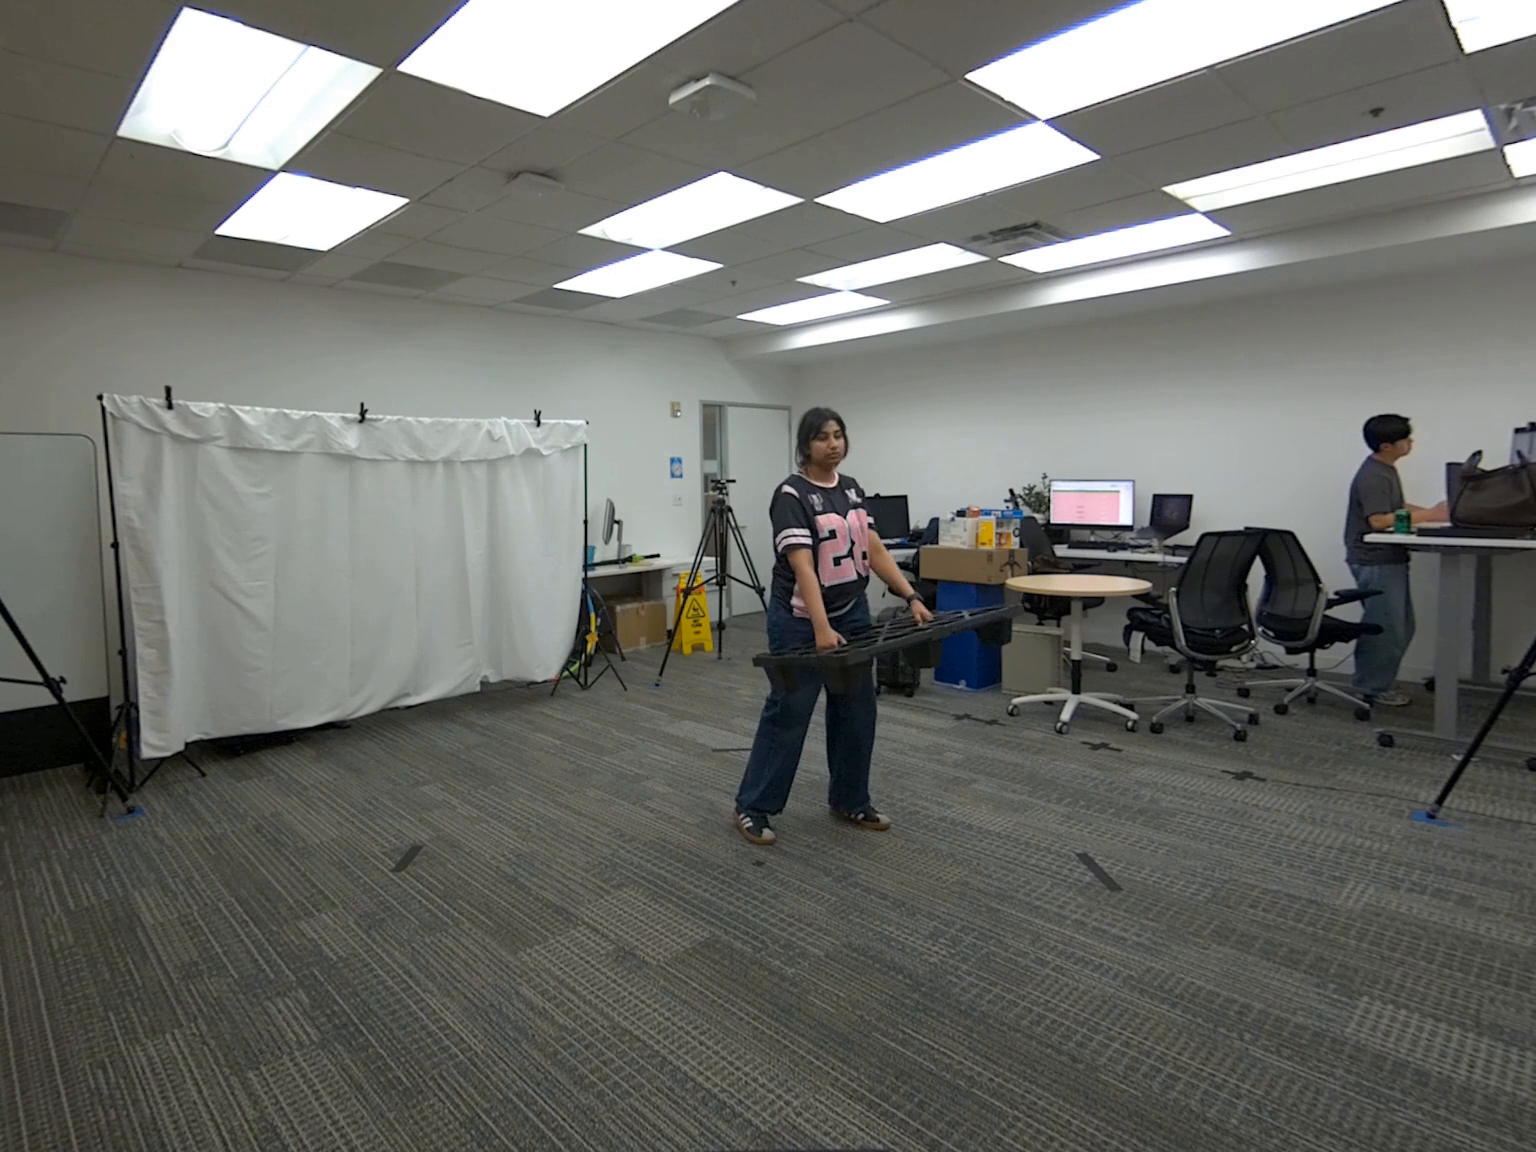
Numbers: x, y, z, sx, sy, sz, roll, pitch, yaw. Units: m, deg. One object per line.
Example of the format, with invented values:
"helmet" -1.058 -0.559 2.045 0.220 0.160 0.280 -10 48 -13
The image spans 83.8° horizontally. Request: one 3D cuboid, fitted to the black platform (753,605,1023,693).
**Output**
"black platform" 0.436 0.265 3.072 0.790 0.143 0.616 -12 0 -28
